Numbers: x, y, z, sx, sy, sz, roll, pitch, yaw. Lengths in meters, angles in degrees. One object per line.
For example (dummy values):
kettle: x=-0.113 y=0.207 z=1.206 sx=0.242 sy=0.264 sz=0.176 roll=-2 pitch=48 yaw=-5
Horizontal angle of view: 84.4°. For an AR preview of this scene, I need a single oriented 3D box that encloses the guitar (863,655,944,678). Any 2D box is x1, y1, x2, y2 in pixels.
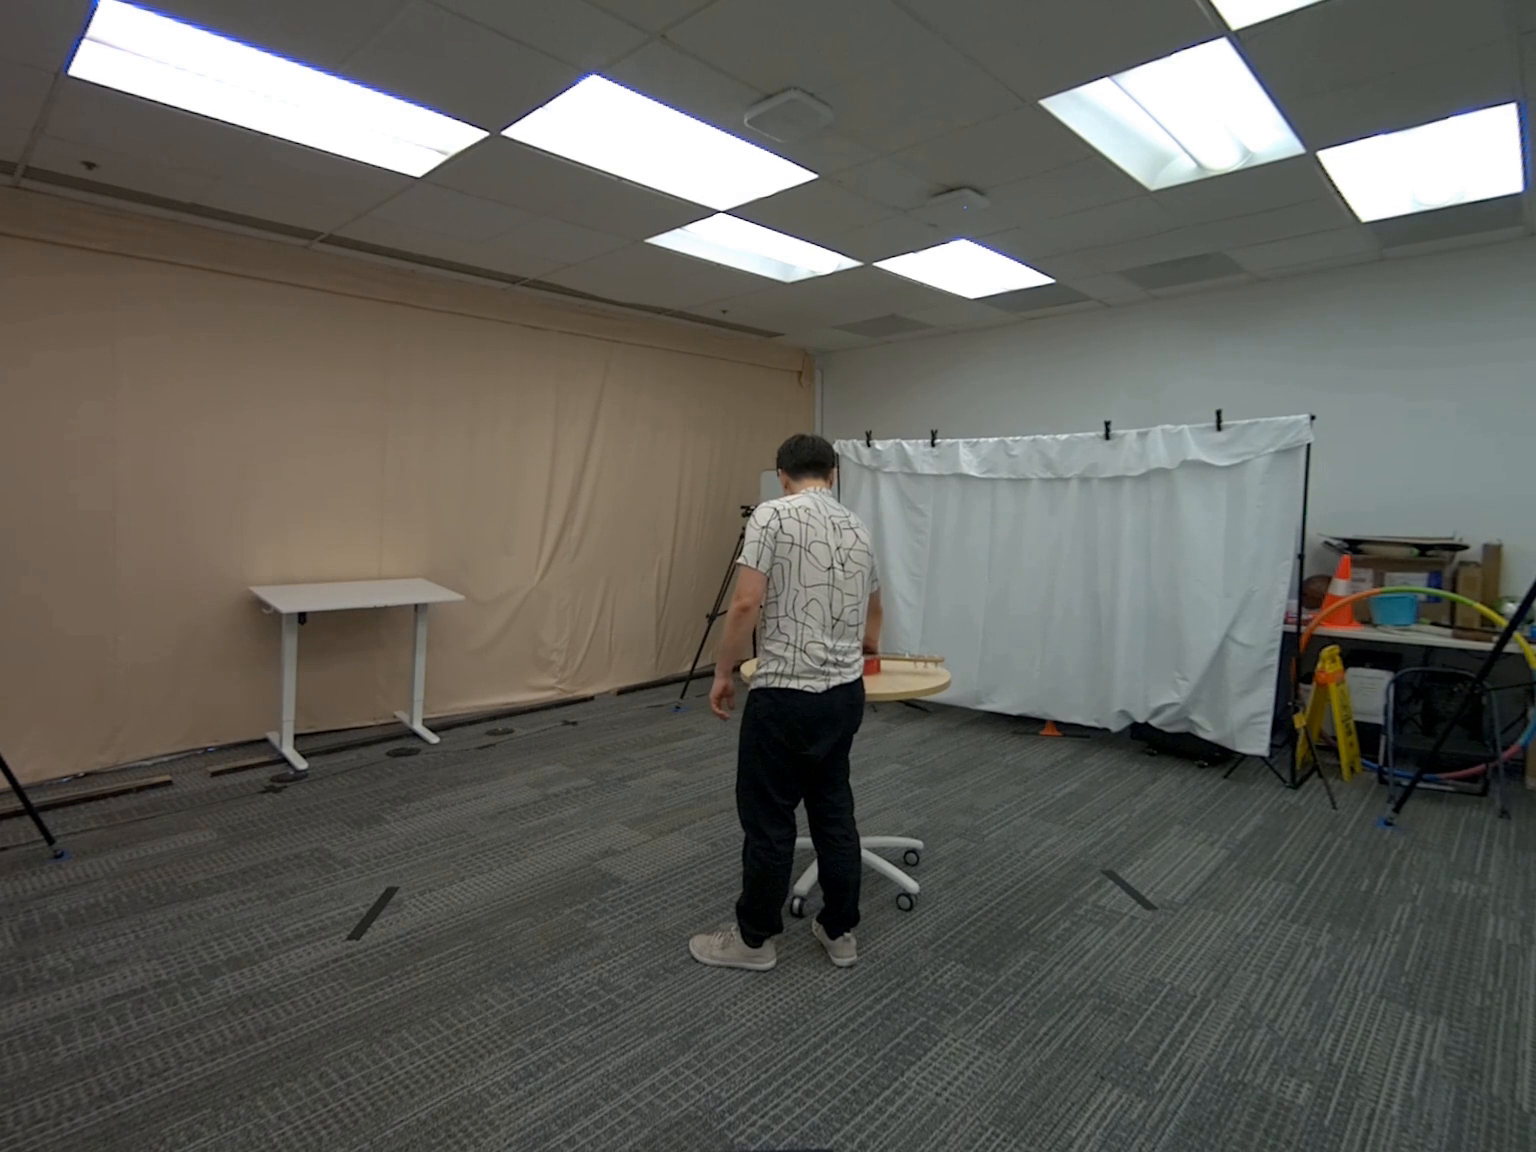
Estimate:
guitar: x=0.382 y=0.322 z=3.042 sx=0.509 sy=0.070 sz=0.189 roll=2 pitch=4 yaw=22
